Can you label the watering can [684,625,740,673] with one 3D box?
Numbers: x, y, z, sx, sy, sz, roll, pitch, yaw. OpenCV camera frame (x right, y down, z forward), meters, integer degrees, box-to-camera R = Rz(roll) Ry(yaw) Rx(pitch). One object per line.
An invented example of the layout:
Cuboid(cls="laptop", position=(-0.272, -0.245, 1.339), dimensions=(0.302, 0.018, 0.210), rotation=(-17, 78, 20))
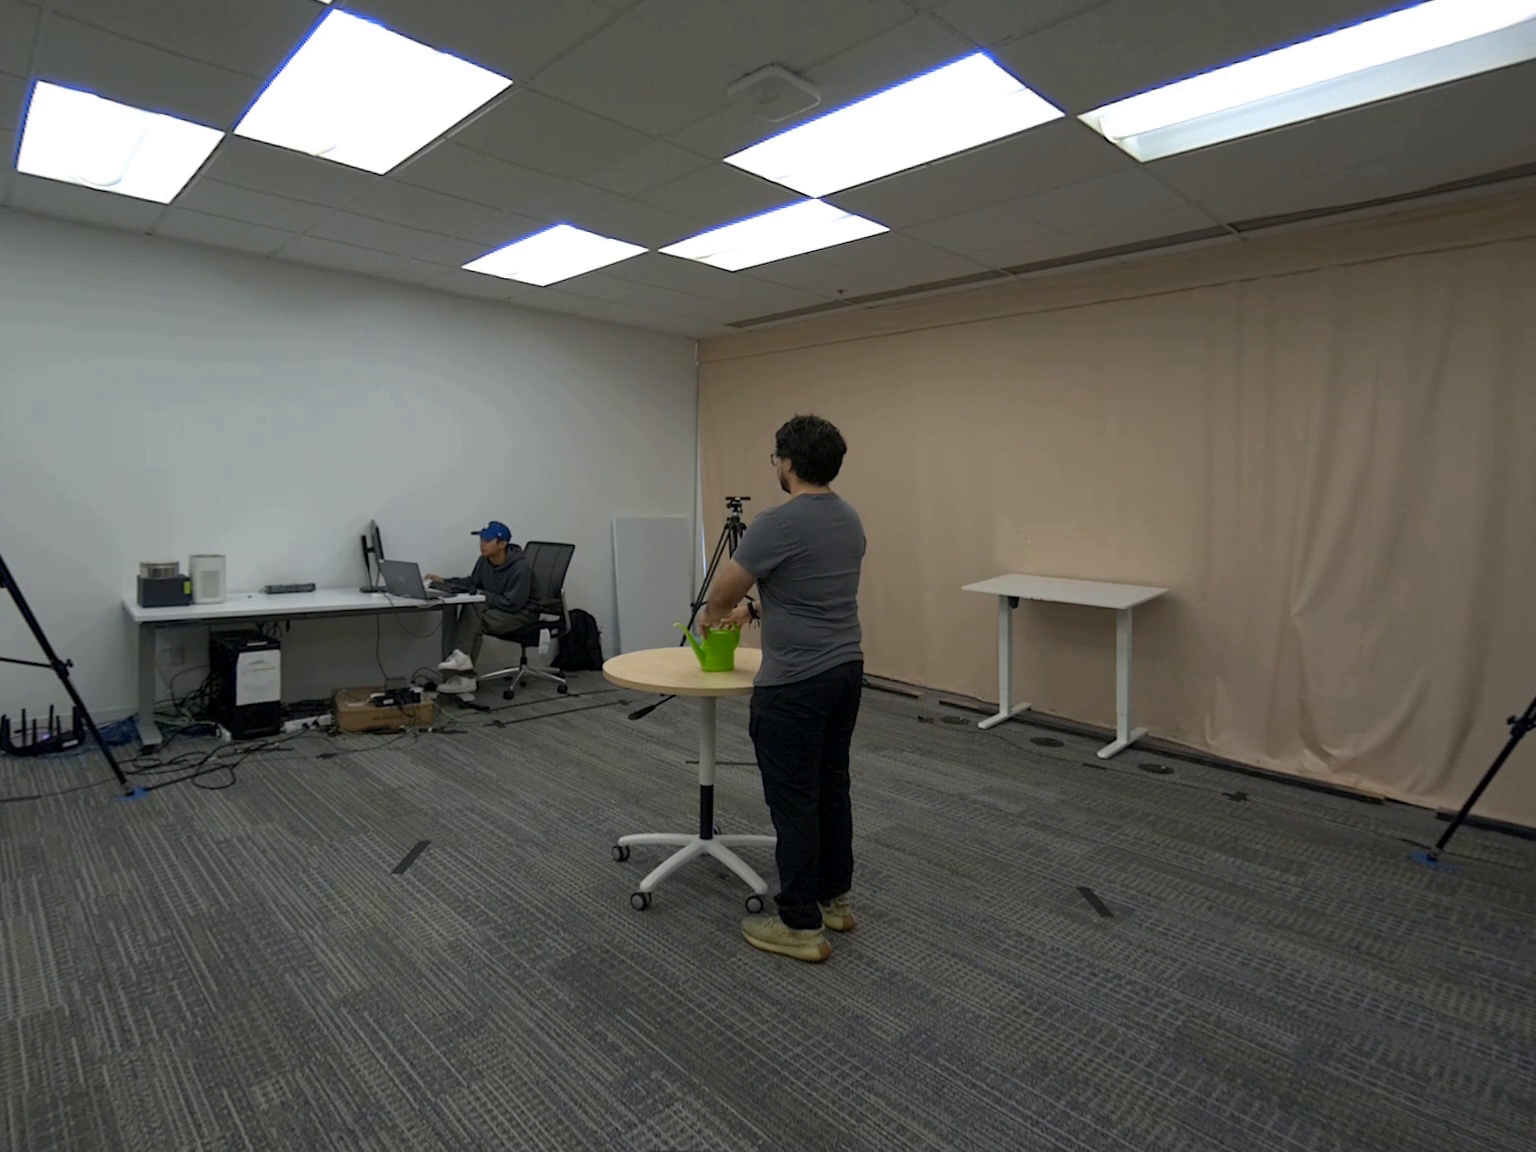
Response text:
Cuboid(cls="watering can", position=(-0.220, 0.246, 2.974), dimensions=(0.273, 0.176, 0.100), rotation=(1, 3, -27))
